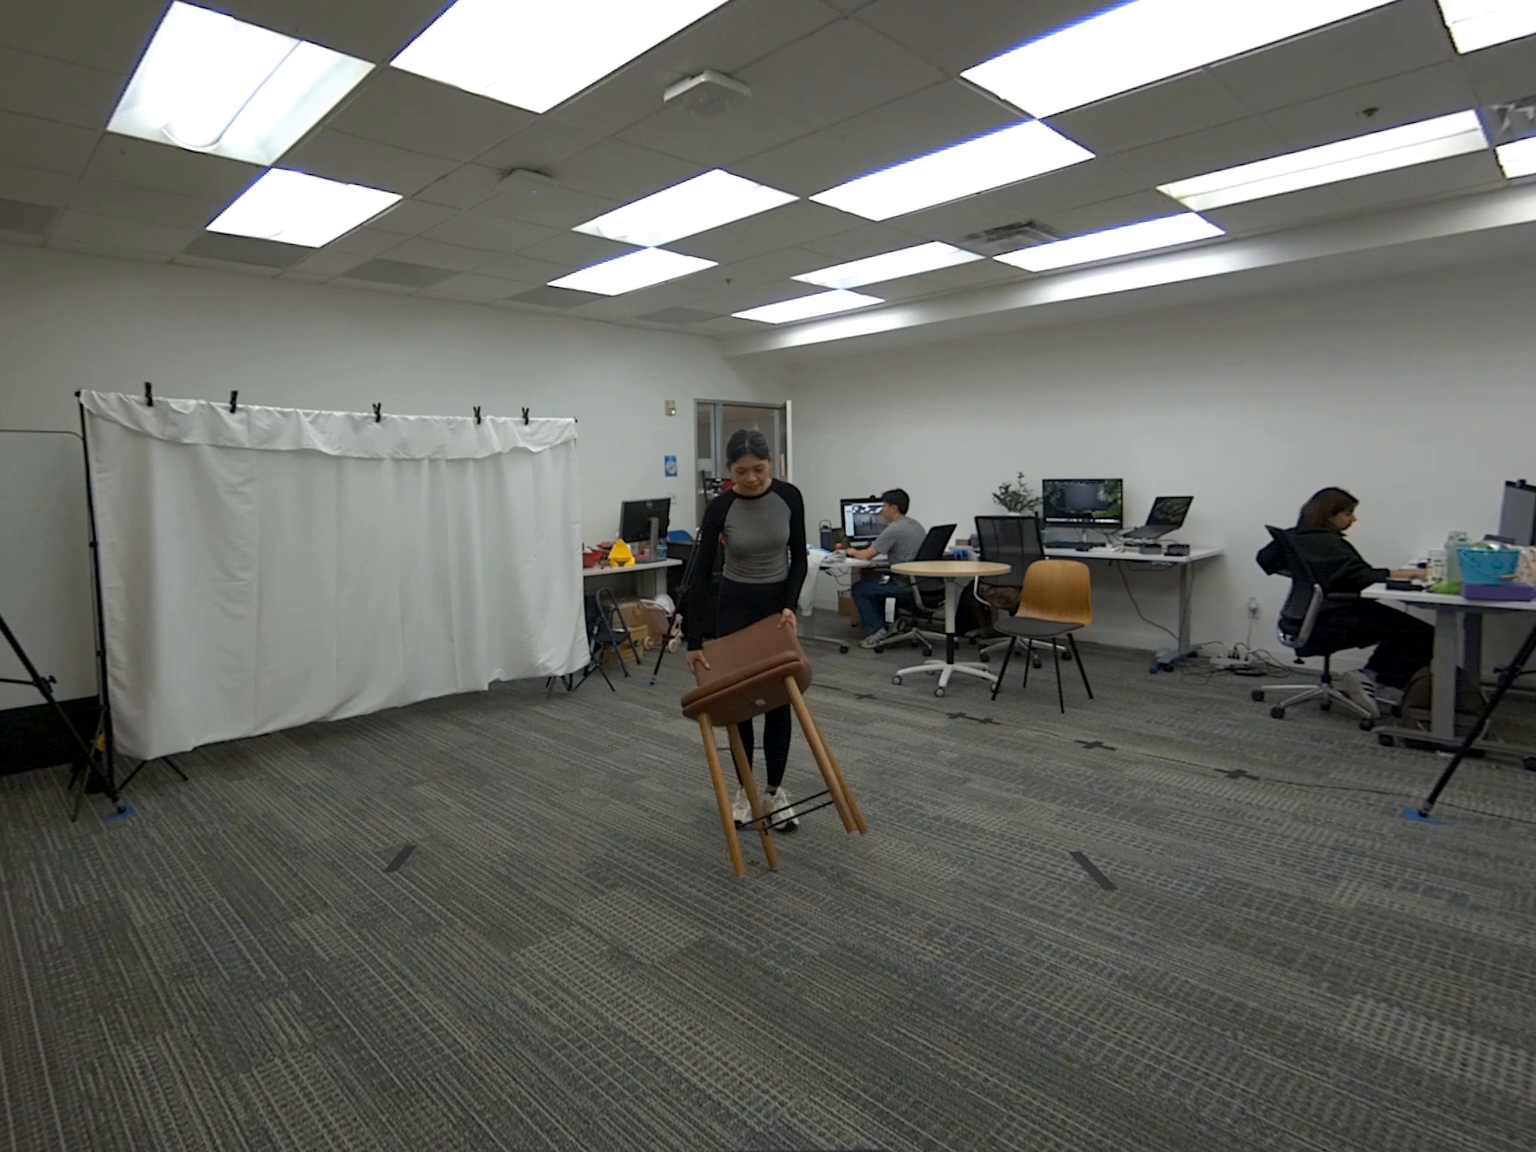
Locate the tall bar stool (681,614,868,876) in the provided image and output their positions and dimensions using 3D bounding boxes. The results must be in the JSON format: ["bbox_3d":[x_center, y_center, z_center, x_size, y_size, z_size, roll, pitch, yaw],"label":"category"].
[{"bbox_3d":[-0.009,0.545,3.003,0.458,0.914,0.453,-25,-25,8],"label":"tall bar stool"}]
